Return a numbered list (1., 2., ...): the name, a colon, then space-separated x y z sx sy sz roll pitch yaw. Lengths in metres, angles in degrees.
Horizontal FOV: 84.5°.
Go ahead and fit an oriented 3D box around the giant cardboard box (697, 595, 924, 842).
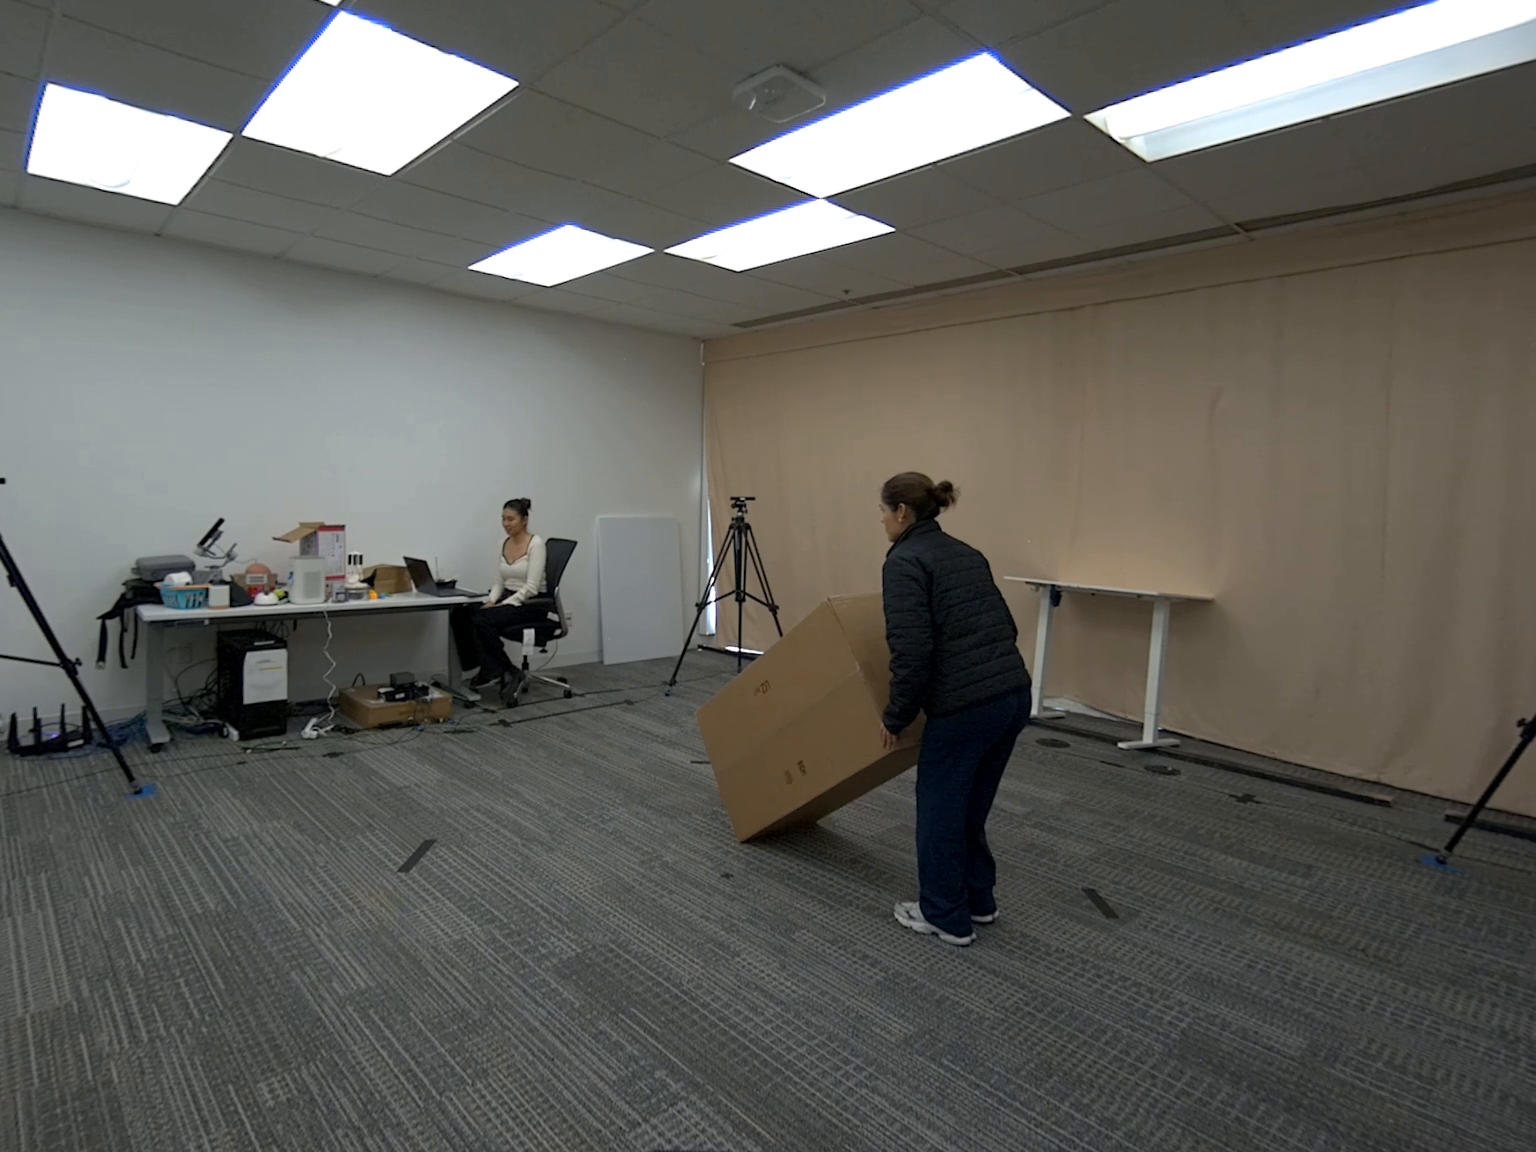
1. giant cardboard box: 0.207 0.568 3.297 0.436 0.597 1.028 0 -31 -38
